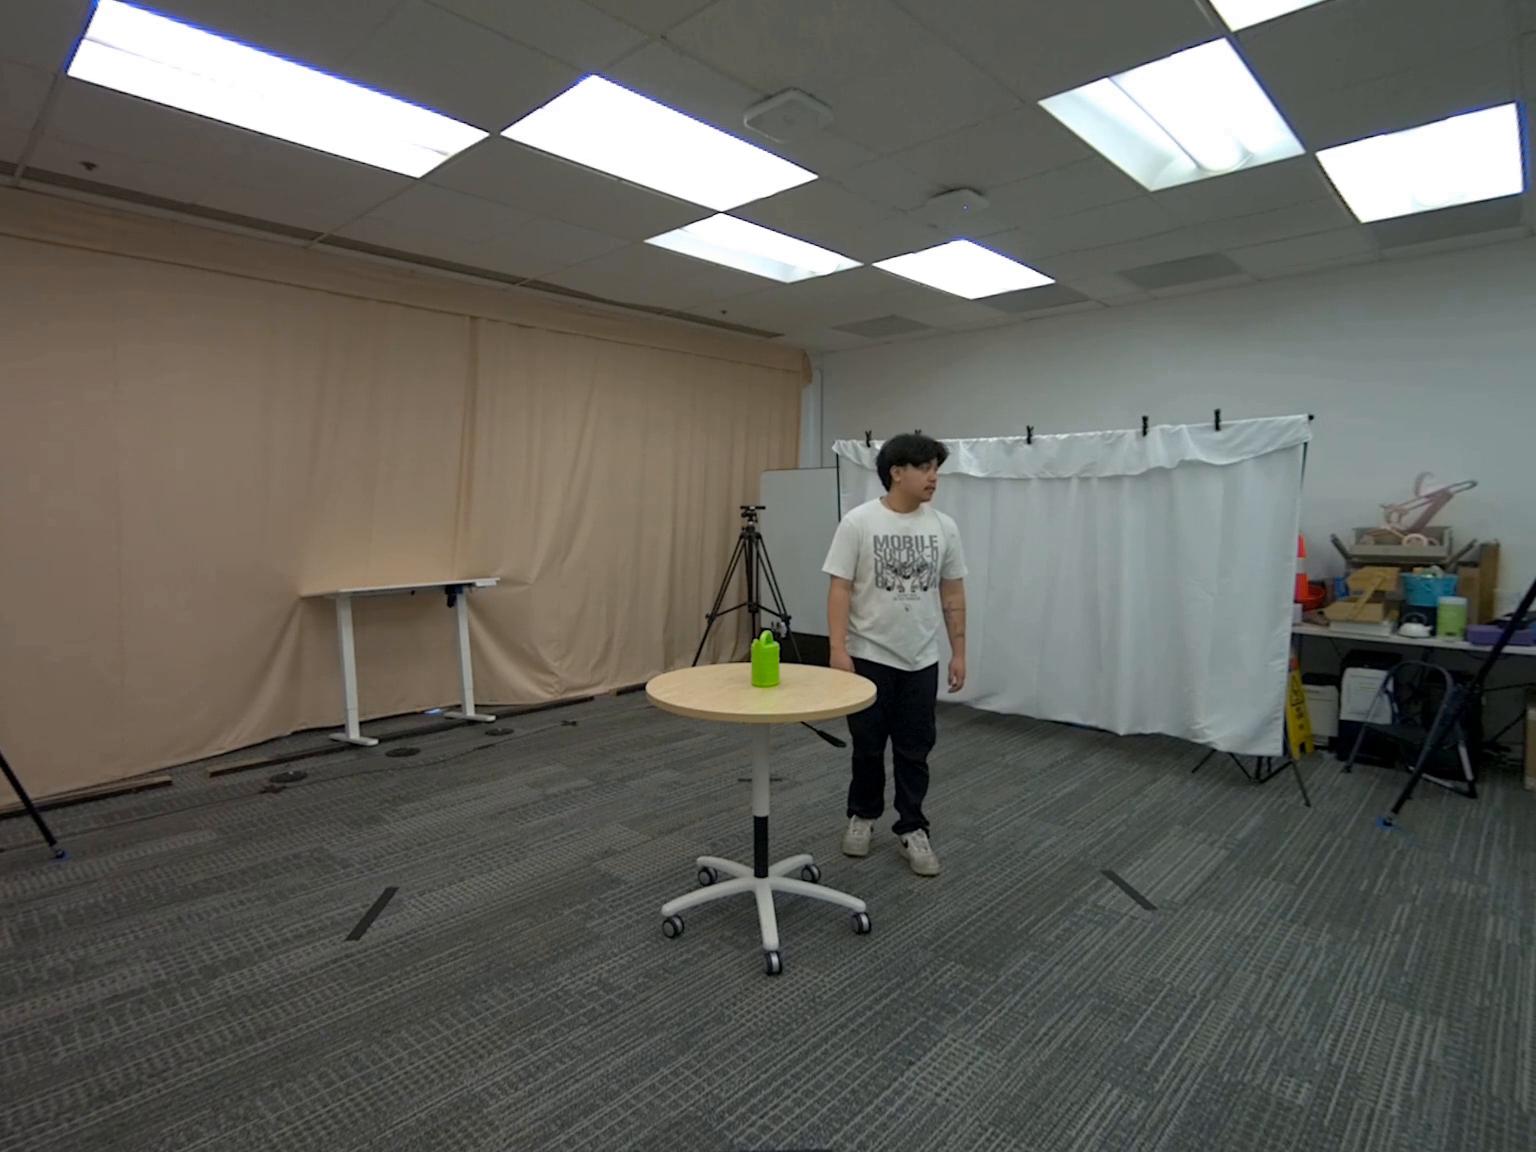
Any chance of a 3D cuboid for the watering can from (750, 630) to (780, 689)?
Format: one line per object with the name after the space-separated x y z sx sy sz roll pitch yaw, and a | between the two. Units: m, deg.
-0.024 0.281 2.800 0.101 0.176 0.271 2 3 26 | watering can
